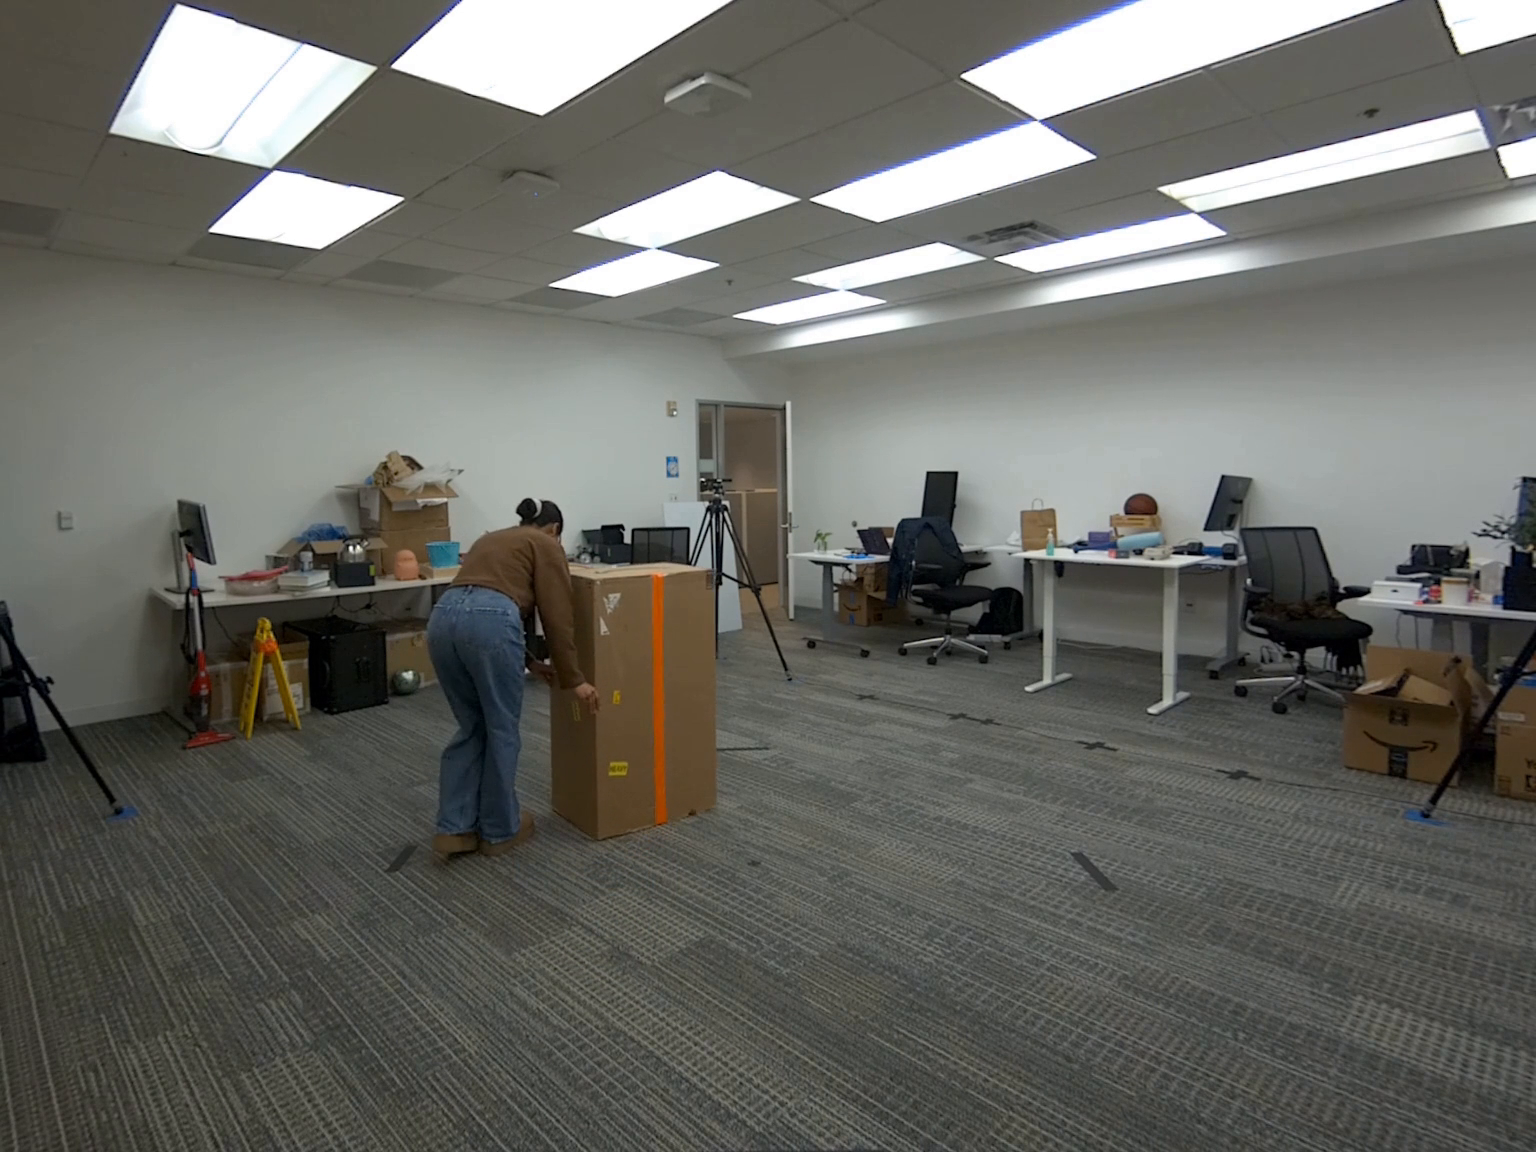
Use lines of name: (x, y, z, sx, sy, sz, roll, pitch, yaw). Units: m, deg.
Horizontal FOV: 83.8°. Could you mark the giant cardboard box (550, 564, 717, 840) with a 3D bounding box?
giant cardboard box: (-0.572, 0.489, 3.627, 0.562, 1.023, 0.439, -2, 4, -38)
